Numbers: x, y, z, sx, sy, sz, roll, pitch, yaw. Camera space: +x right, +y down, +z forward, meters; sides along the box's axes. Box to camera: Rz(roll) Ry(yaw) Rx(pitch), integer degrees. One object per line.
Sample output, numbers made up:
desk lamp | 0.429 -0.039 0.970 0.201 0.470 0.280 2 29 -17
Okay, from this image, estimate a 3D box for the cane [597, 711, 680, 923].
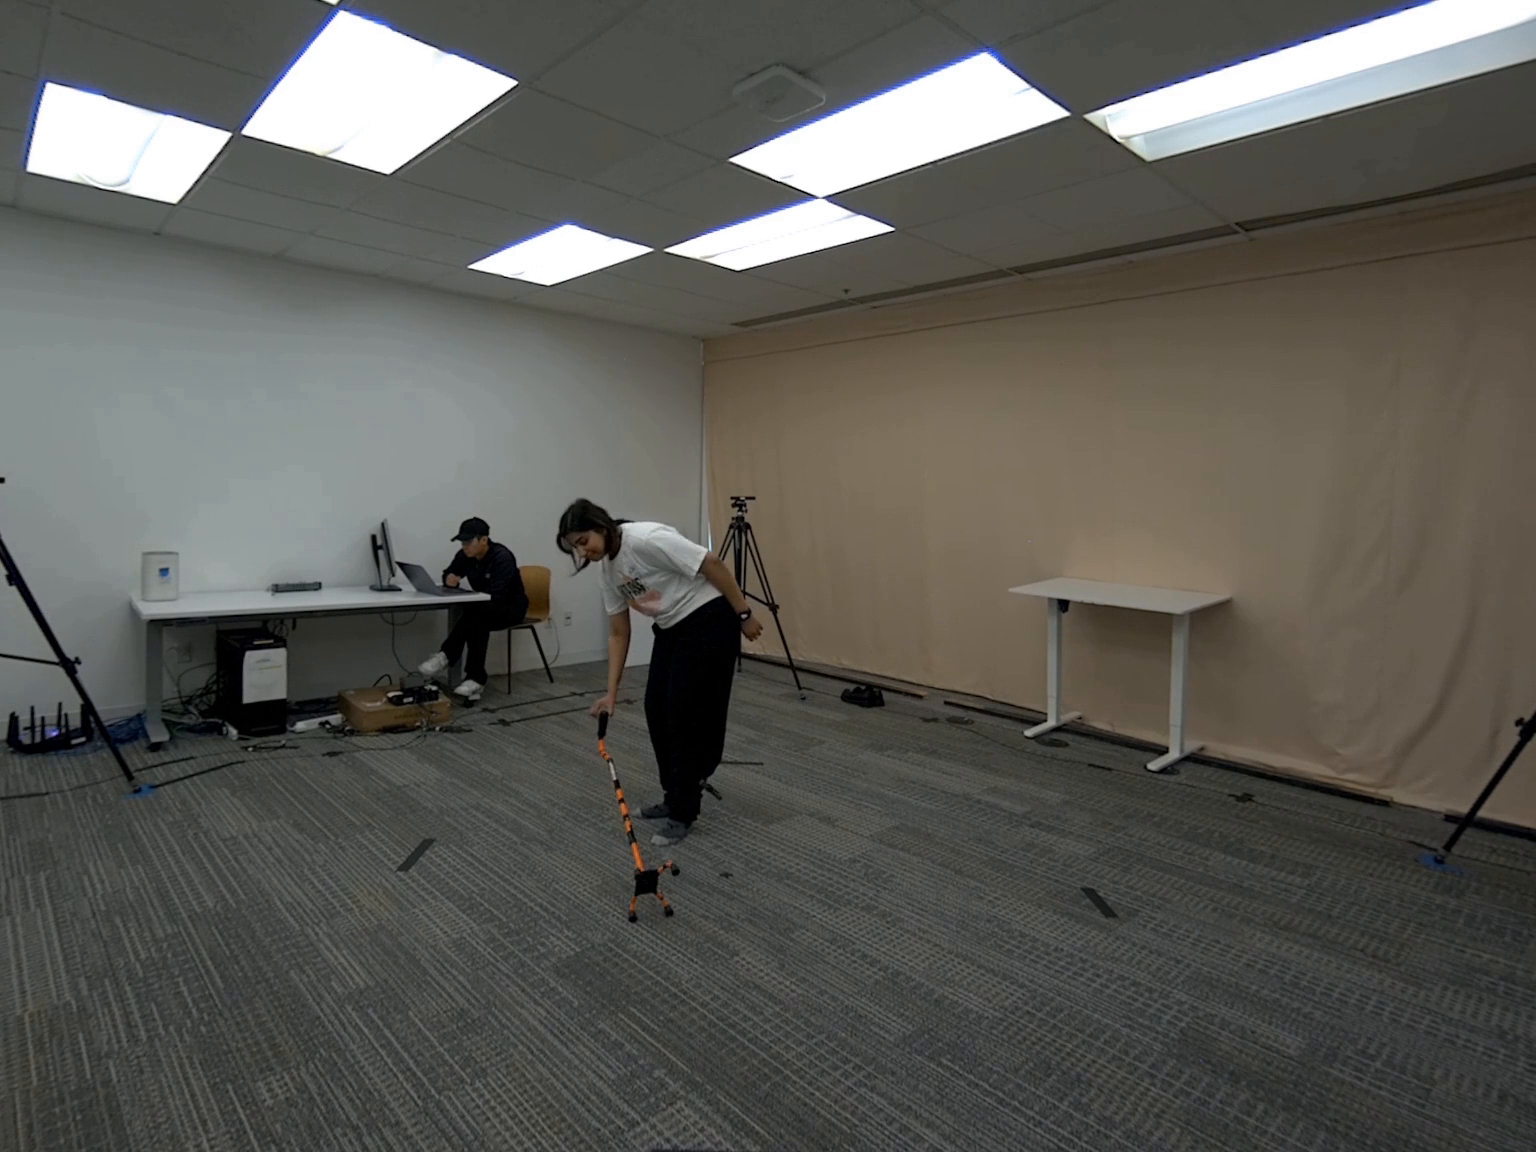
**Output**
cane | -0.536 0.840 3.115 0.149 0.203 0.934 -5 27 -19
